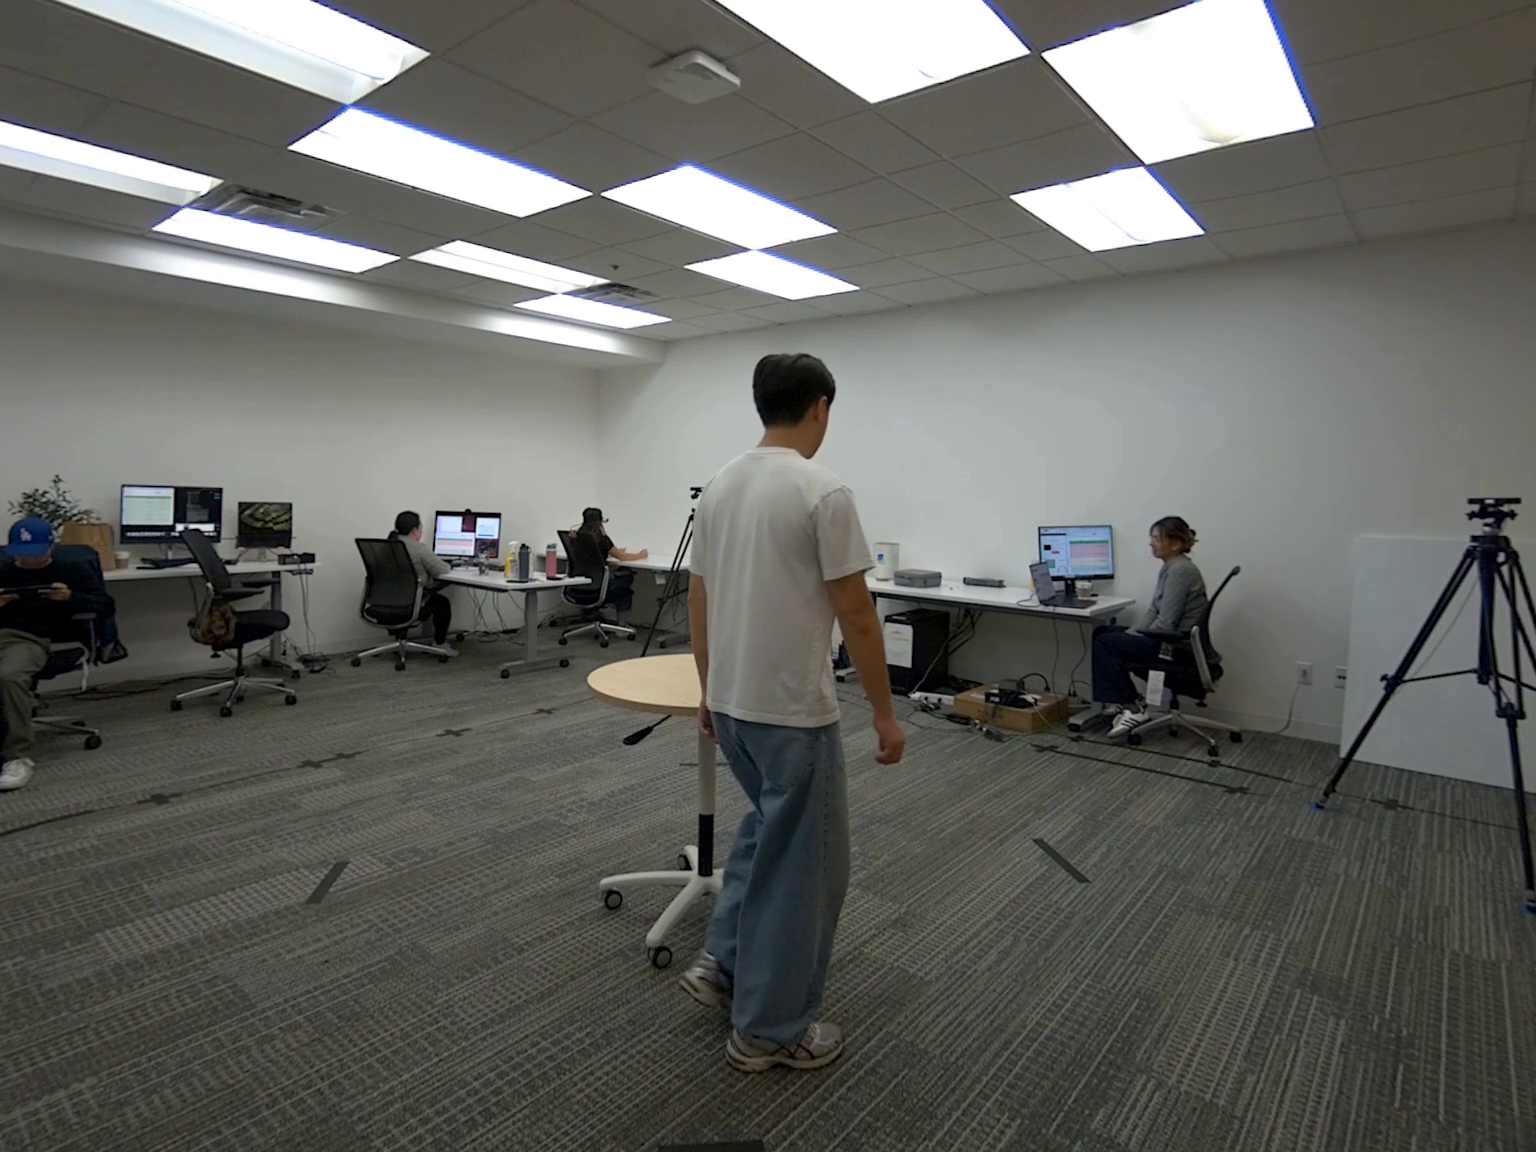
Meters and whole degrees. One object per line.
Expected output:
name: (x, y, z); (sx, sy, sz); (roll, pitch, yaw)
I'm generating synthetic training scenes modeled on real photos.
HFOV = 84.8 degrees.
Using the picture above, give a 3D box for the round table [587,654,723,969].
round table: (-0.211, 0.711, 2.742); (0.763, 0.791, 0.768); (1, 4, -2)
